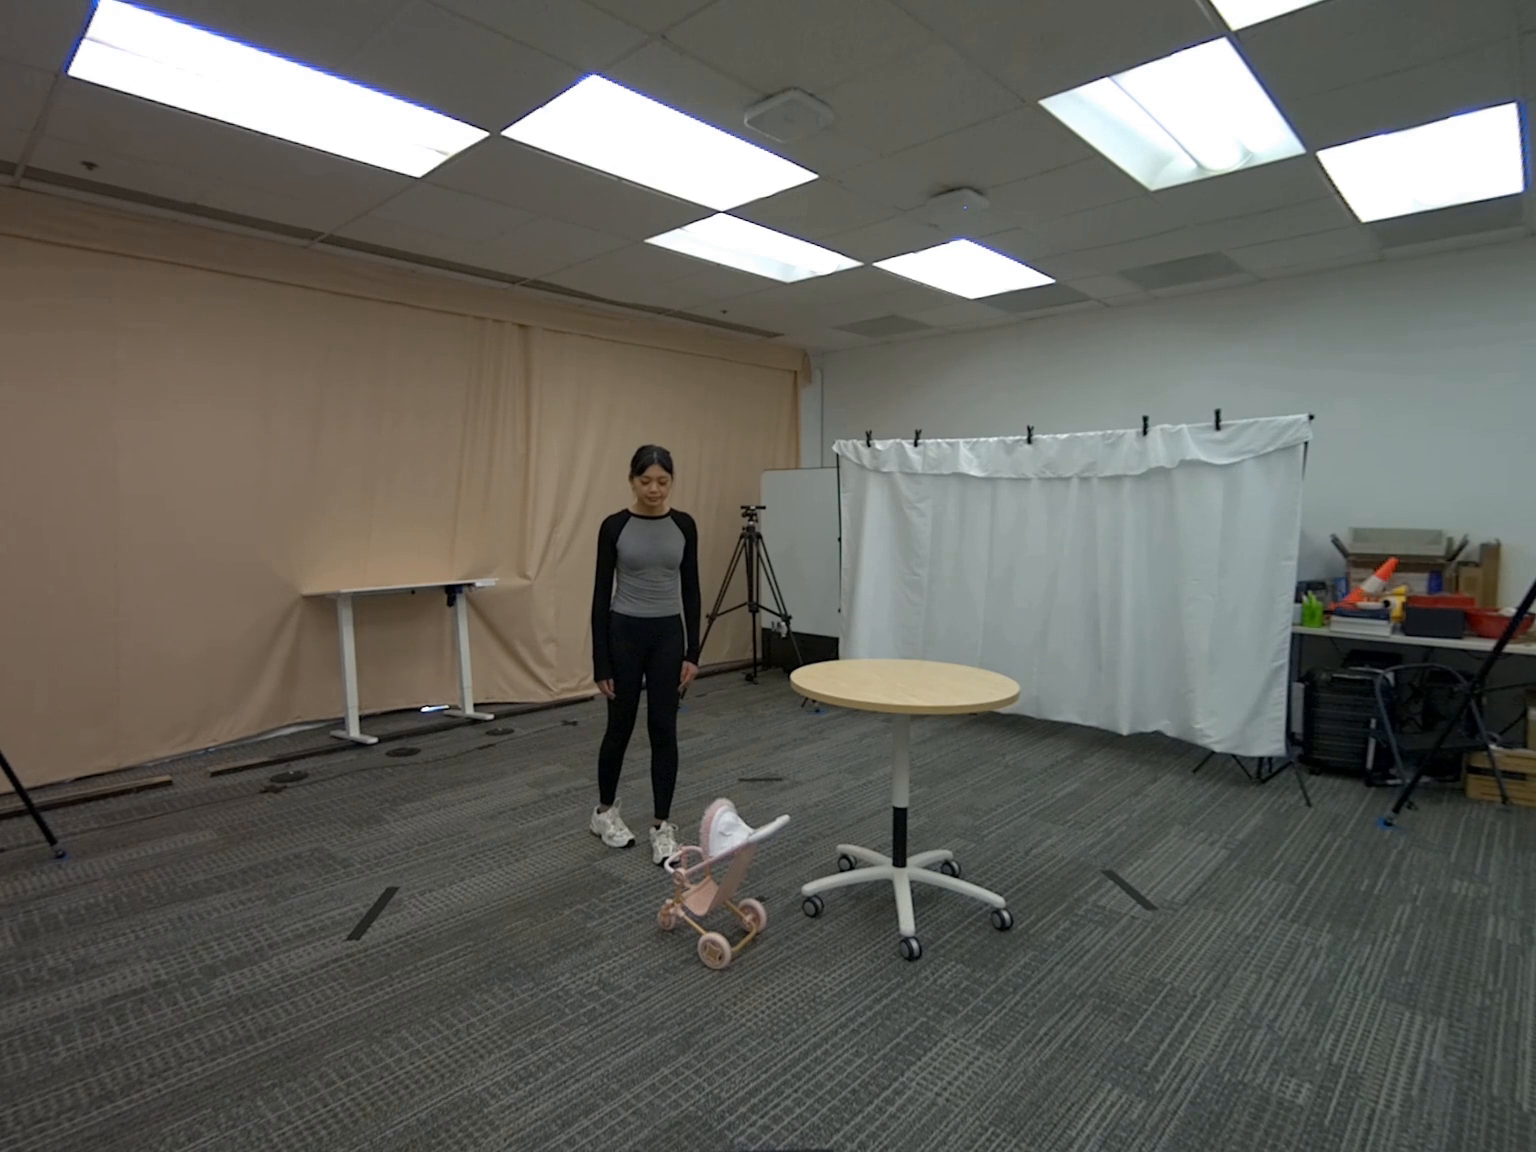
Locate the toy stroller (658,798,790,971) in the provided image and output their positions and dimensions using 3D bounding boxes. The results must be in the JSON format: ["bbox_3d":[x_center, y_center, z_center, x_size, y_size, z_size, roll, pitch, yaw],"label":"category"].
[{"bbox_3d":[-0.162,0.945,2.667,0.352,0.533,0.273,20,12,30],"label":"toy stroller"}]
